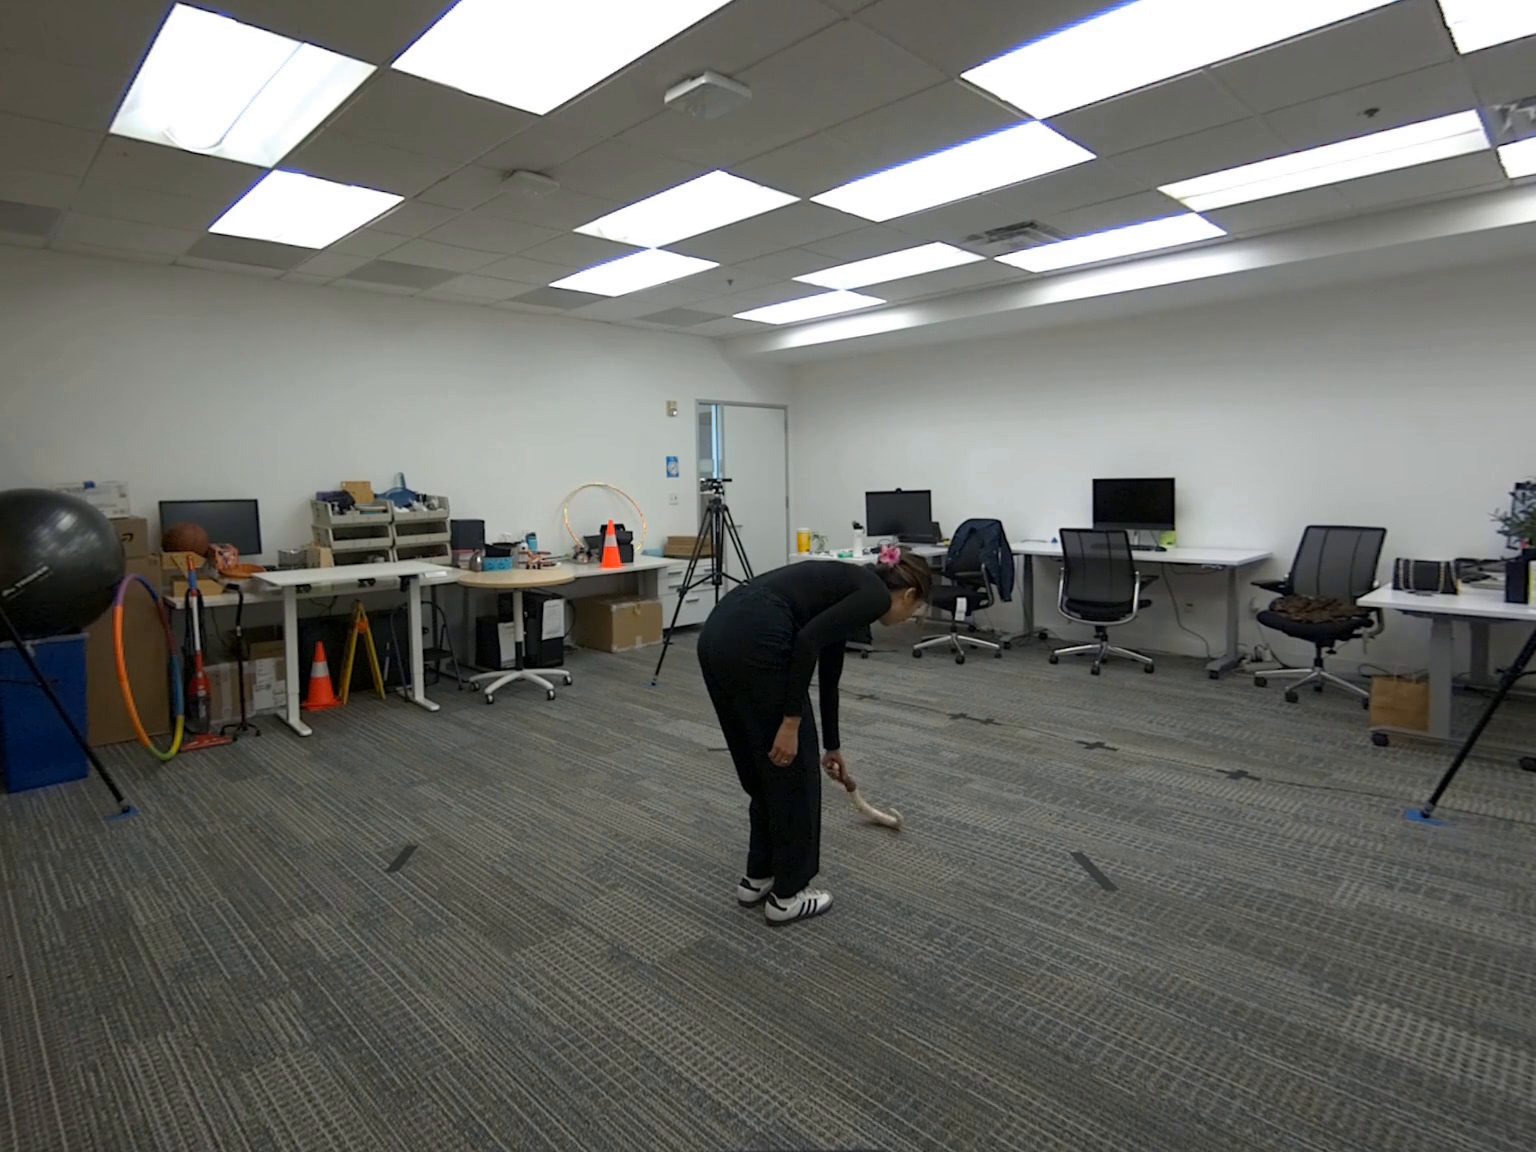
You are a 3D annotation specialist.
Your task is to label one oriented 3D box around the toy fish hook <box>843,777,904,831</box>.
[{"bbox_3d":[0.384,0.849,3.281,0.232,0.048,0.487,8,-31,38],"label":"toy fish hook"}]
